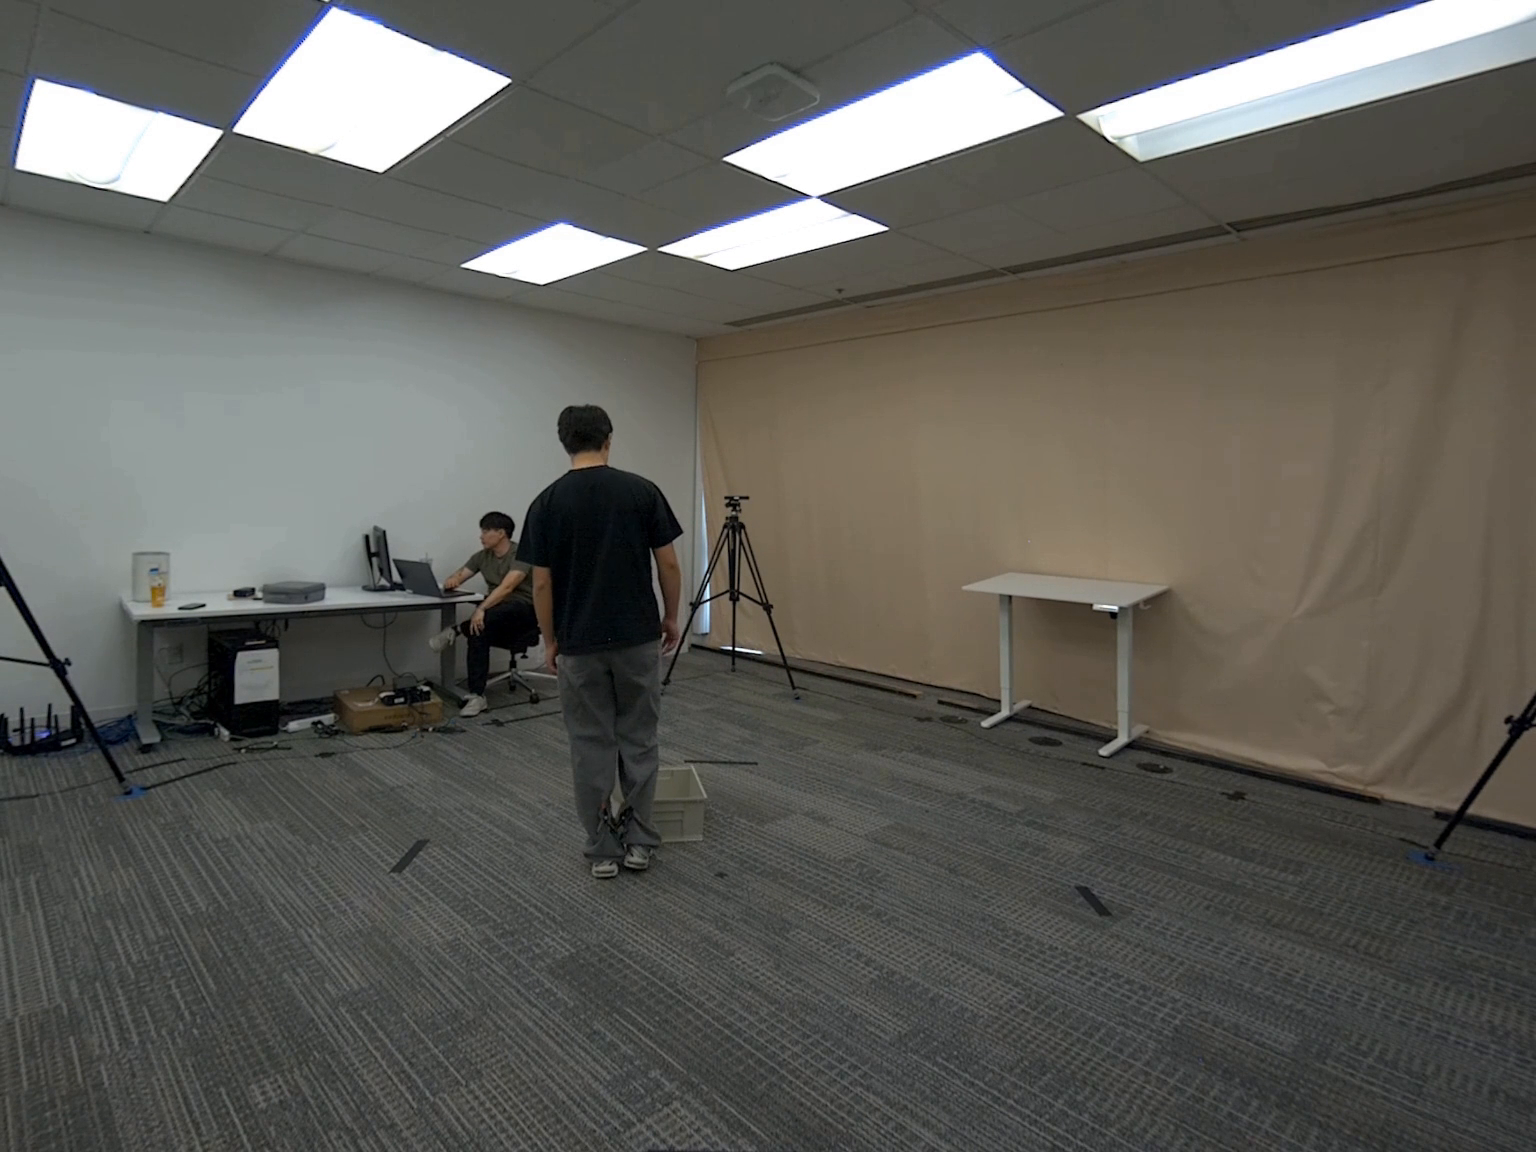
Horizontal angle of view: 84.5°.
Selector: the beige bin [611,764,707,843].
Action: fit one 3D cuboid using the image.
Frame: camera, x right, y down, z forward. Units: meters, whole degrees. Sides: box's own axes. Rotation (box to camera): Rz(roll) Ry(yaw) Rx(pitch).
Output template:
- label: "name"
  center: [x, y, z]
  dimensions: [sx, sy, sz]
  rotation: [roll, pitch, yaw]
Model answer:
- label: "beige bin"
  center: [-0.481, 0.968, 3.585]
  dimensions: [0.374, 0.188, 0.427]
  rotation: [1, 4, -12]
